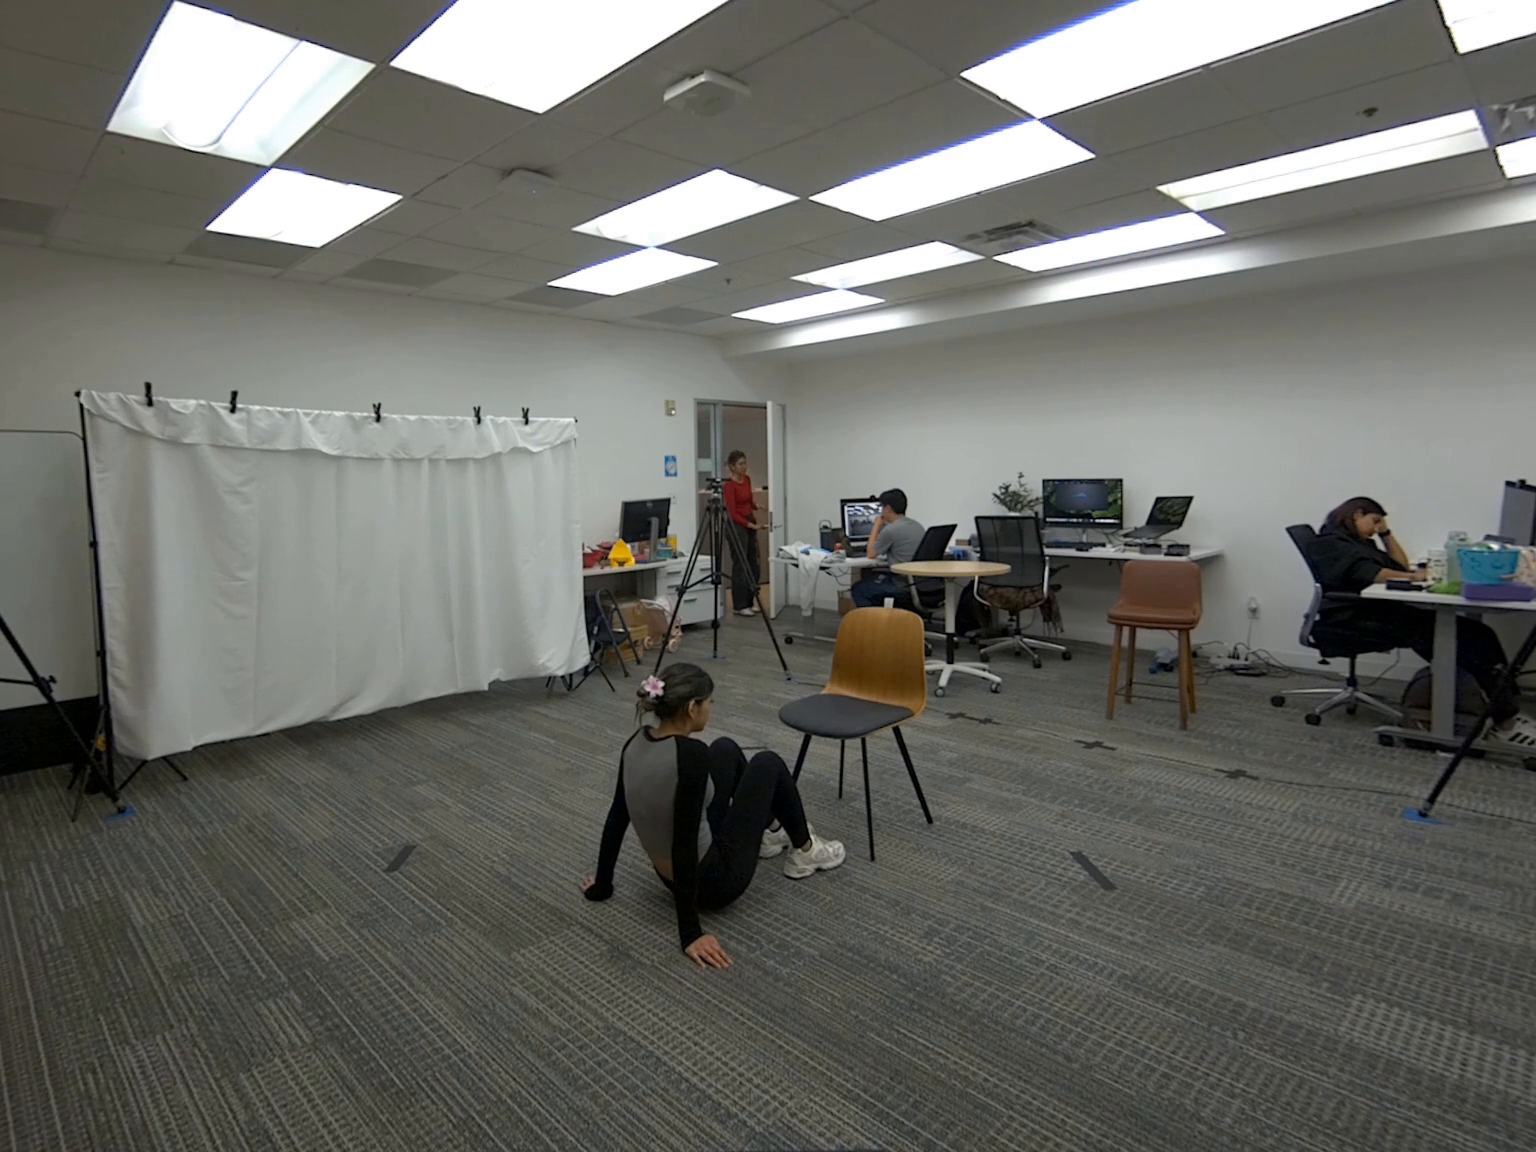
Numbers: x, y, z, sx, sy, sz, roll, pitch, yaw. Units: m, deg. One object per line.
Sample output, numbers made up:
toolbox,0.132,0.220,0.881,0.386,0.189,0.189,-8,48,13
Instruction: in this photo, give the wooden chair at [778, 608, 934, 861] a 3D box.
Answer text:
wooden chair,0.337,0.575,3.377,0.492,0.877,0.508,3,1,40
